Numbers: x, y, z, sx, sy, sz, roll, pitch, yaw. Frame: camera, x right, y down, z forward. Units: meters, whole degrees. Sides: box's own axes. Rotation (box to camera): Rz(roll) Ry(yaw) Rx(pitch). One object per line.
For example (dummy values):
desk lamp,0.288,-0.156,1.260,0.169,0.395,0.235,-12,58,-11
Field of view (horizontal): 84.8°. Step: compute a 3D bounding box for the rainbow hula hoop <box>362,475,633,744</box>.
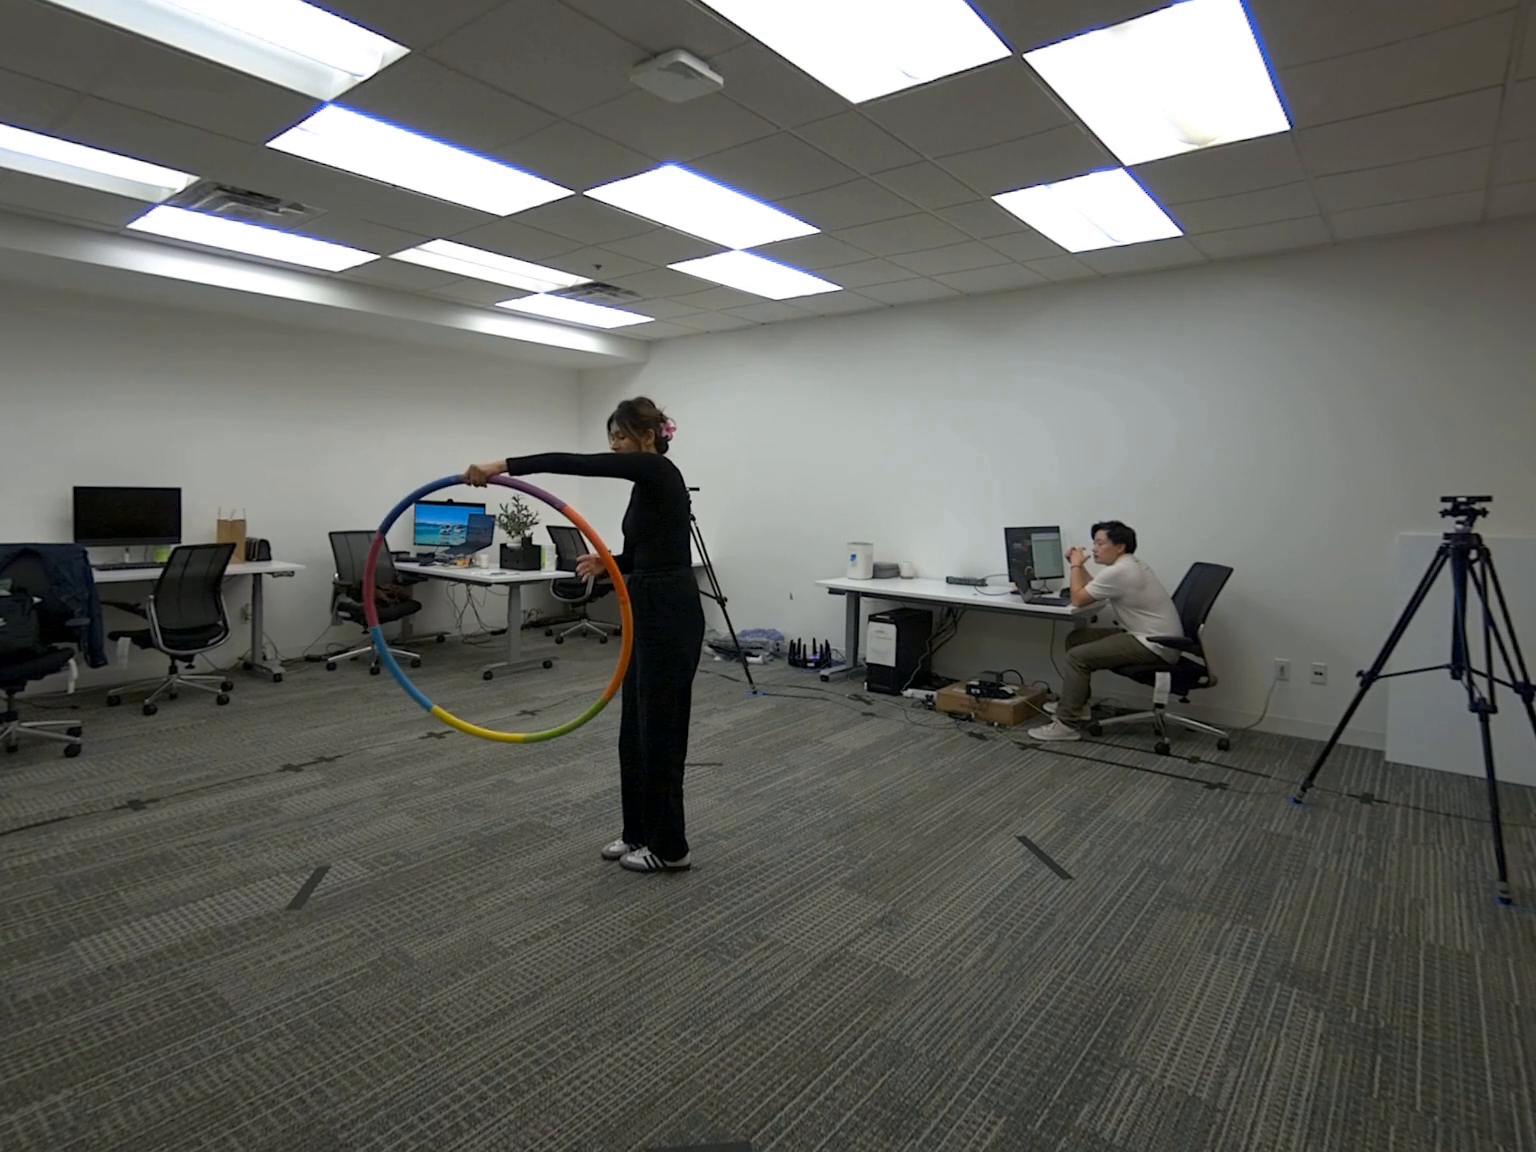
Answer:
rainbow hula hoop,-0.942,0.131,2.909,1.001,0.971,0.051,2,15,15
